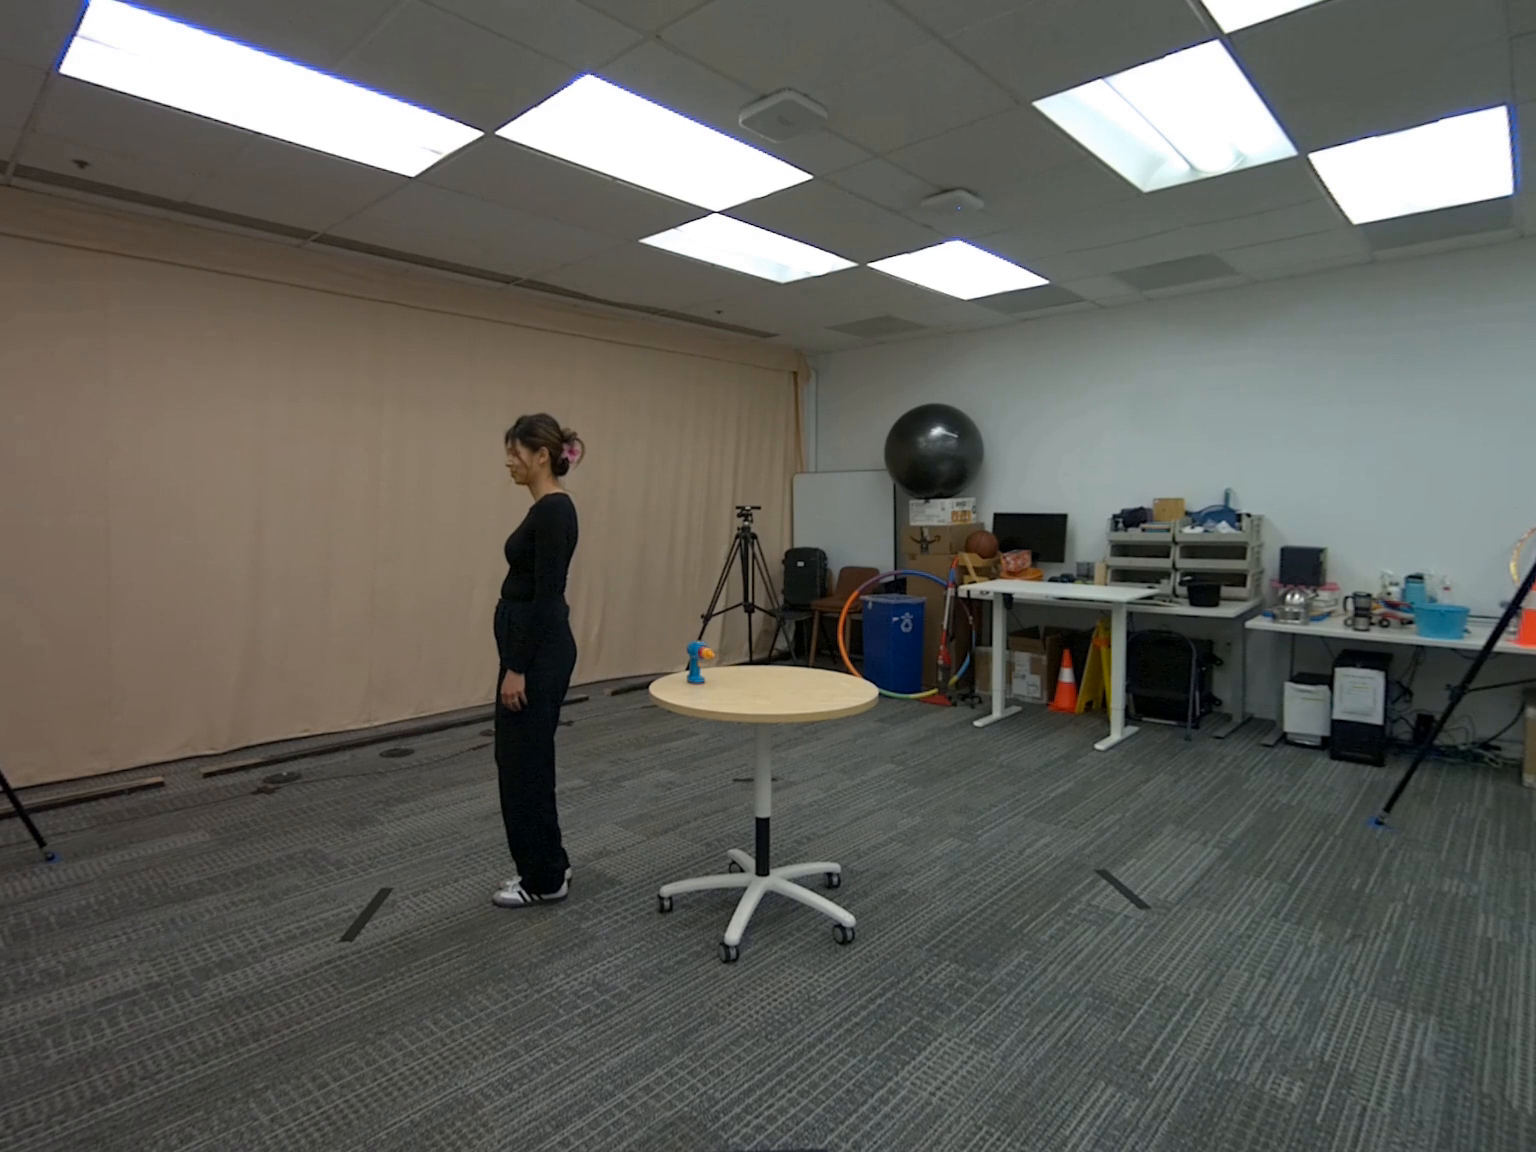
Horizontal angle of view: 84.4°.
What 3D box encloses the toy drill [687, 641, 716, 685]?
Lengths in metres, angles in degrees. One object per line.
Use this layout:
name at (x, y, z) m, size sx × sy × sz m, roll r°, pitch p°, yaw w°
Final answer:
toy drill at (-0.220, 0.297, 2.869) m, size 0.059 × 0.146 × 0.175 m, roll -1°, pitch 4°, yaw -35°
